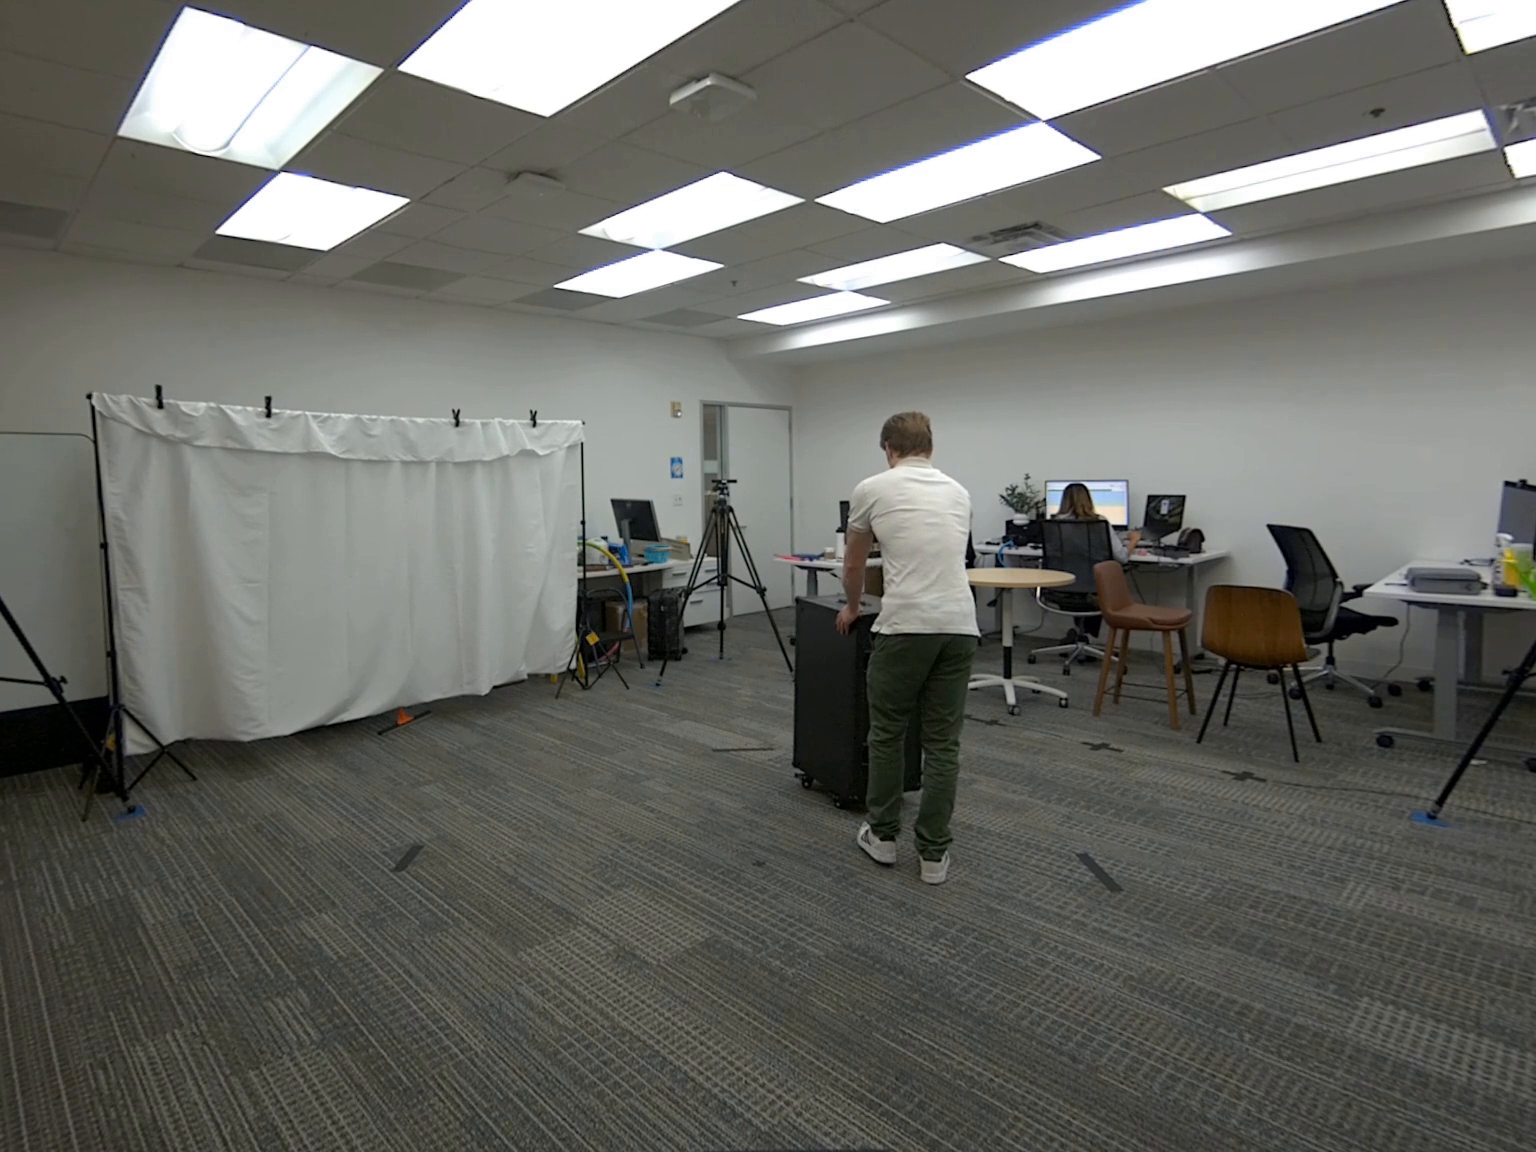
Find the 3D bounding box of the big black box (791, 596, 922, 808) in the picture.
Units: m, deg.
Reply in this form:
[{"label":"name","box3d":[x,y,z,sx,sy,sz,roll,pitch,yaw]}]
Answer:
[{"label":"big black box","box3d":[0.385,0.543,3.763,0.376,0.864,0.538,-2,7,-29]}]
